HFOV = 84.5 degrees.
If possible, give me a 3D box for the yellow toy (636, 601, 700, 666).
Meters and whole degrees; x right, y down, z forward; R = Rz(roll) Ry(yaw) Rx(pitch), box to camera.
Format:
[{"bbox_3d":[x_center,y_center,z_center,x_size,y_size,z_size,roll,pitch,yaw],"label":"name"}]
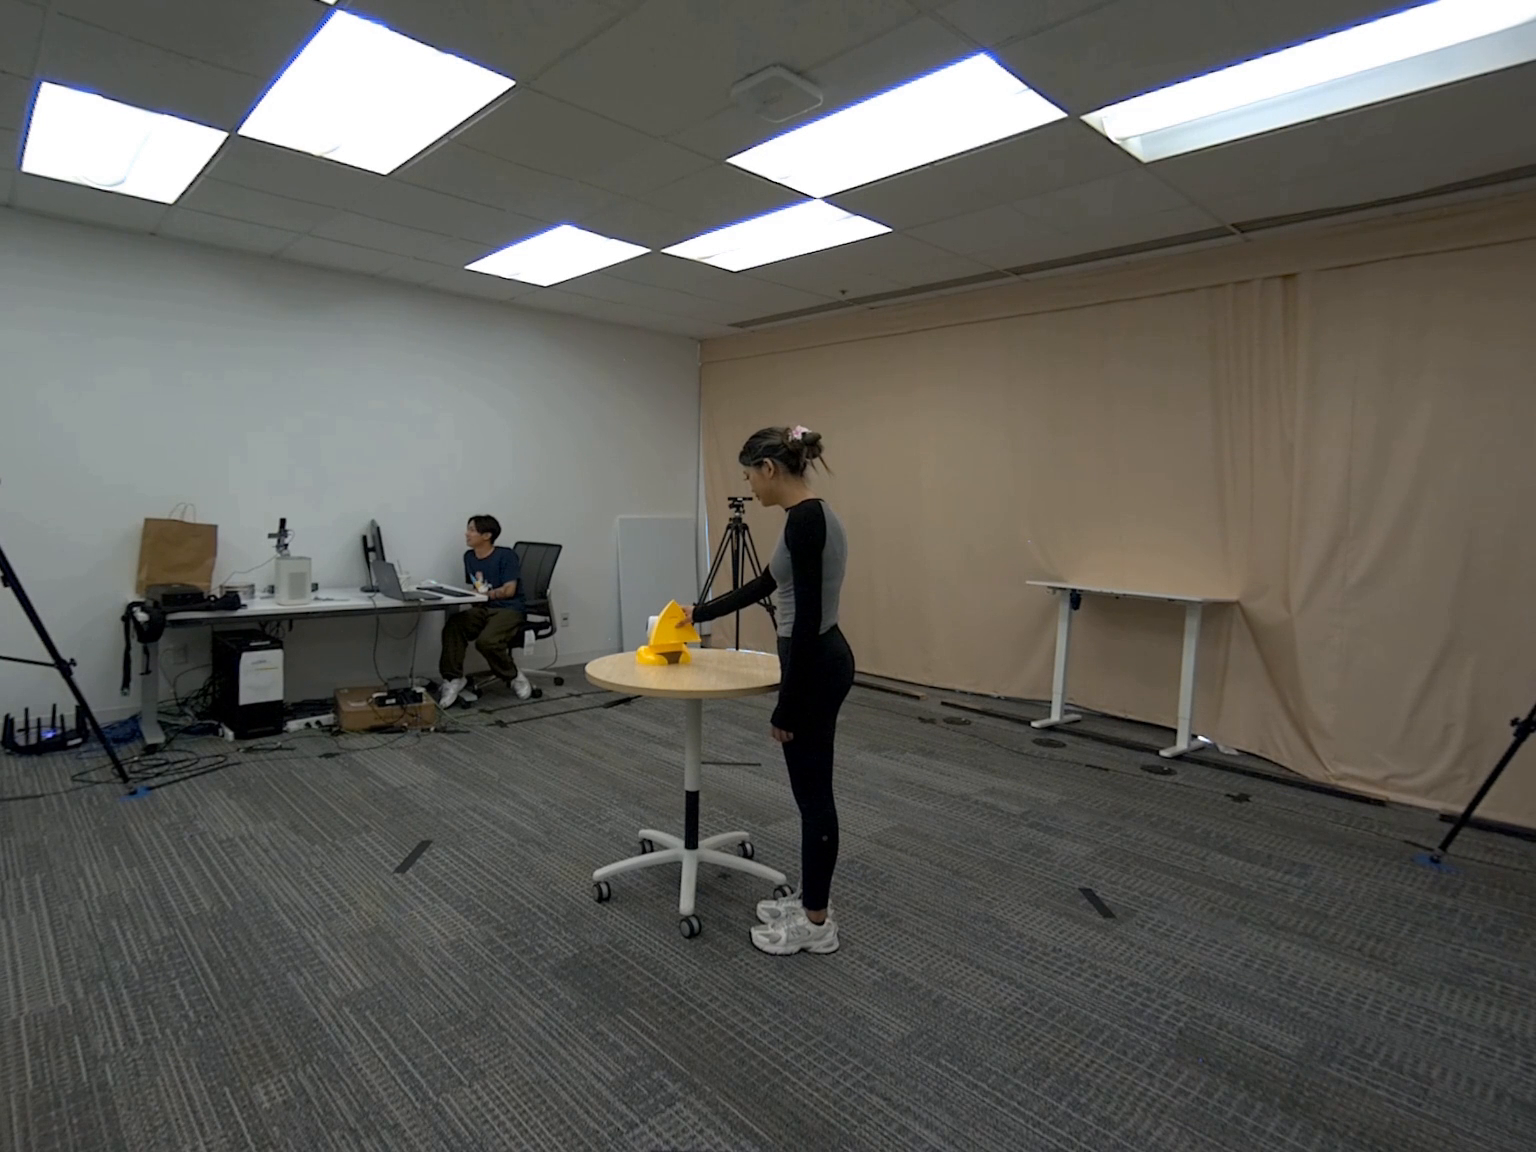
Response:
[{"bbox_3d":[-0.387,0.200,3.079,0.200,0.230,0.198,-2,4,-35],"label":"yellow toy"}]
